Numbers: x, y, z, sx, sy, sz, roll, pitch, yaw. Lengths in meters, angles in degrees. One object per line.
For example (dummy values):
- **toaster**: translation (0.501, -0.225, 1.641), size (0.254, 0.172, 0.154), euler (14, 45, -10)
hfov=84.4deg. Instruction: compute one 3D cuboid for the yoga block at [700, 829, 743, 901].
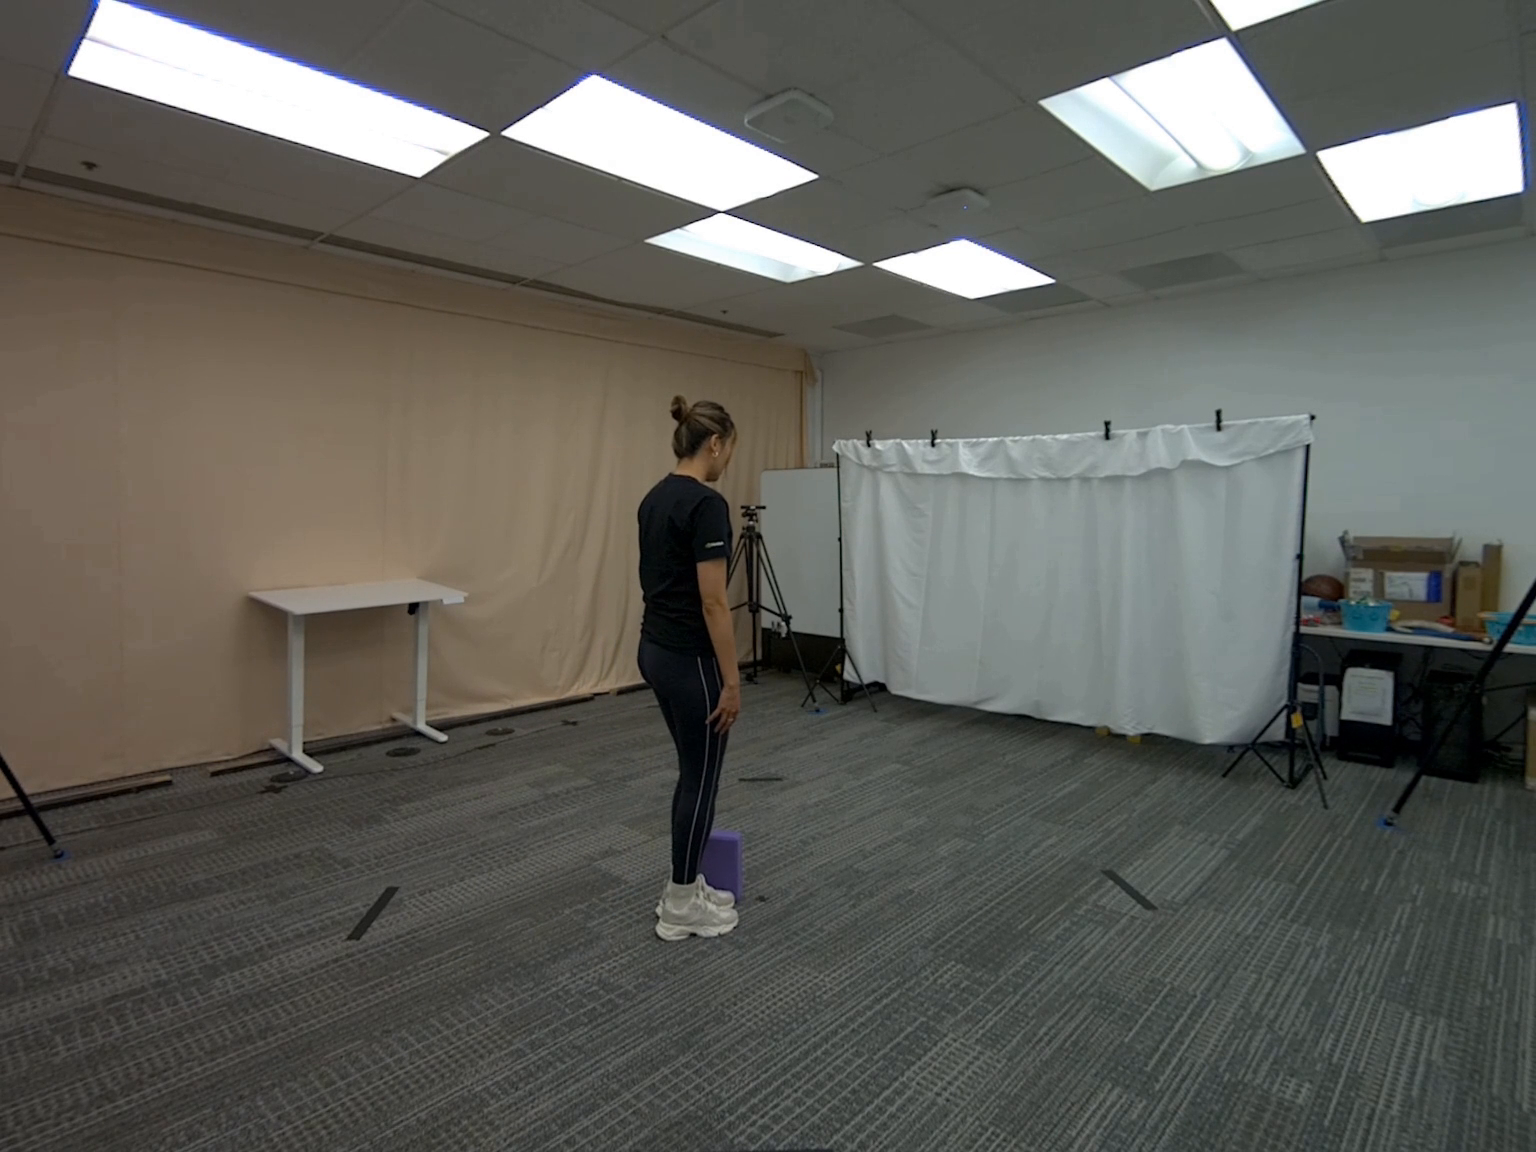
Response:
- **yoga block**: translation (-0.166, 1.029, 2.995), size (0.151, 0.229, 0.075), euler (1, 2, 16)
